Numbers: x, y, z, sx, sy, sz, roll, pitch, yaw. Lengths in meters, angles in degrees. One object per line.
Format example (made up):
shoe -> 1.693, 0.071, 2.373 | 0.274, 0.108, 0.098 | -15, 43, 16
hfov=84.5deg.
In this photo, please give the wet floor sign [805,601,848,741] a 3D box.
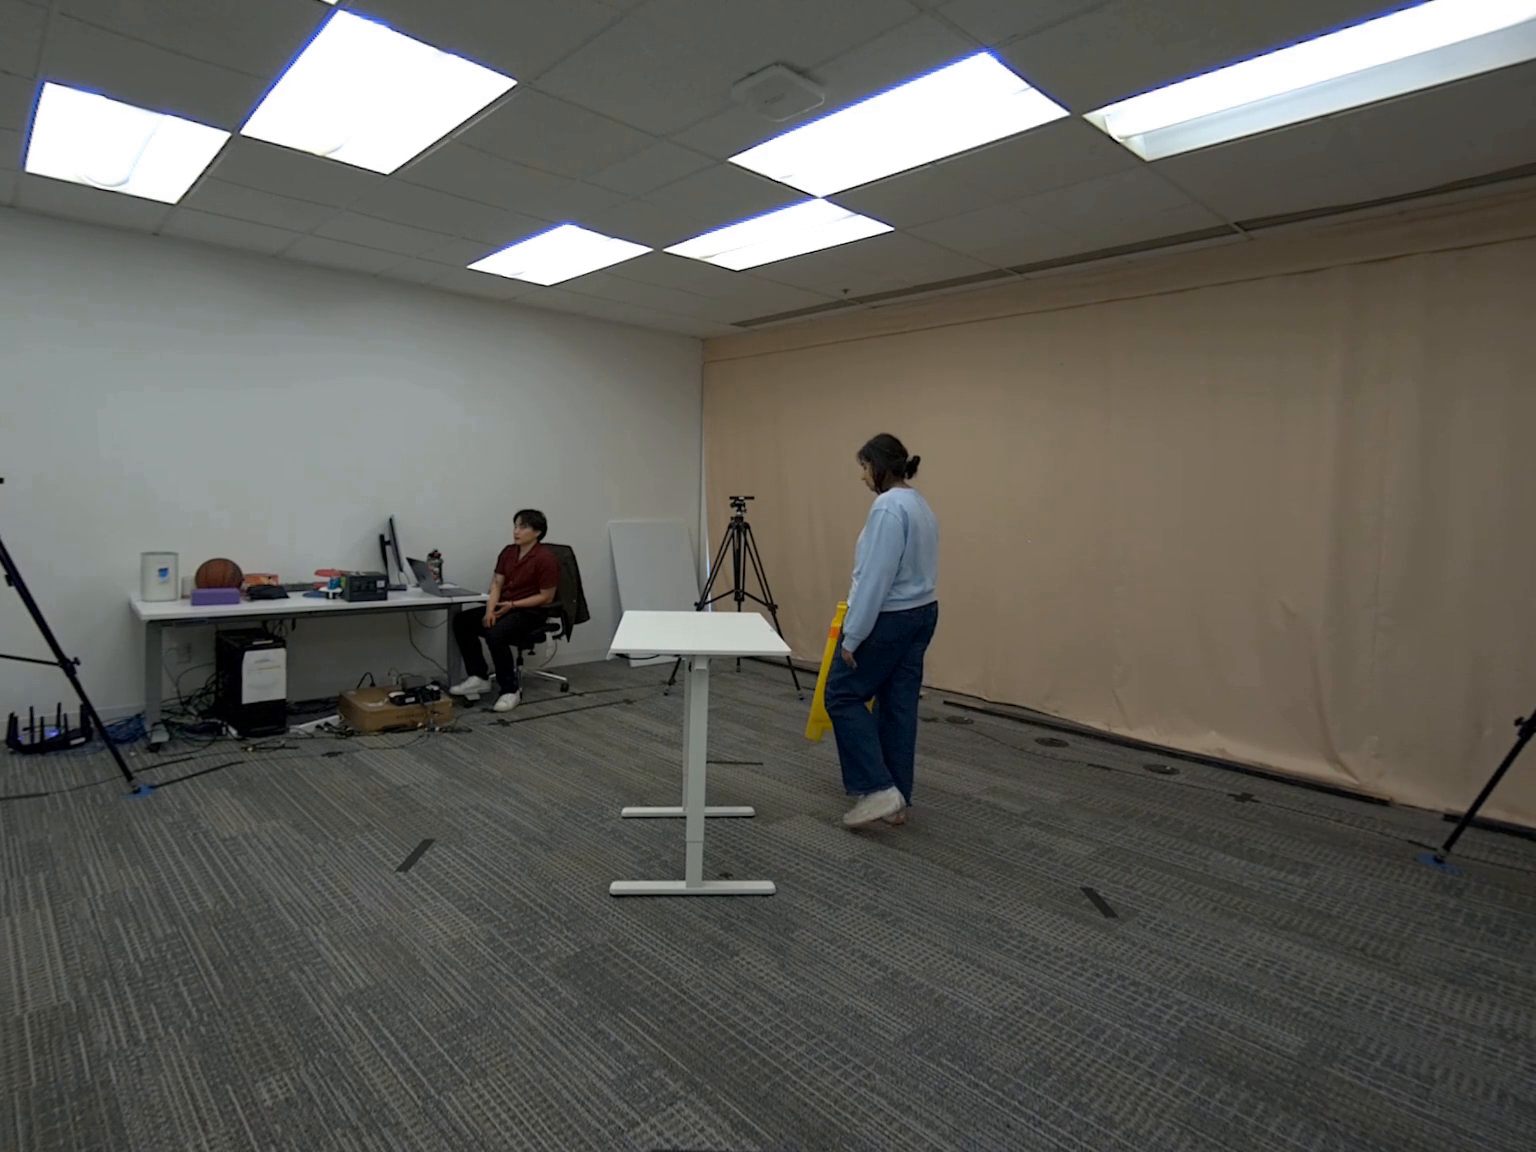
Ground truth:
wet floor sign -> 0.371, 0.462, 4.003 | 0.287, 0.644, 0.285 | 11, 5, 19
